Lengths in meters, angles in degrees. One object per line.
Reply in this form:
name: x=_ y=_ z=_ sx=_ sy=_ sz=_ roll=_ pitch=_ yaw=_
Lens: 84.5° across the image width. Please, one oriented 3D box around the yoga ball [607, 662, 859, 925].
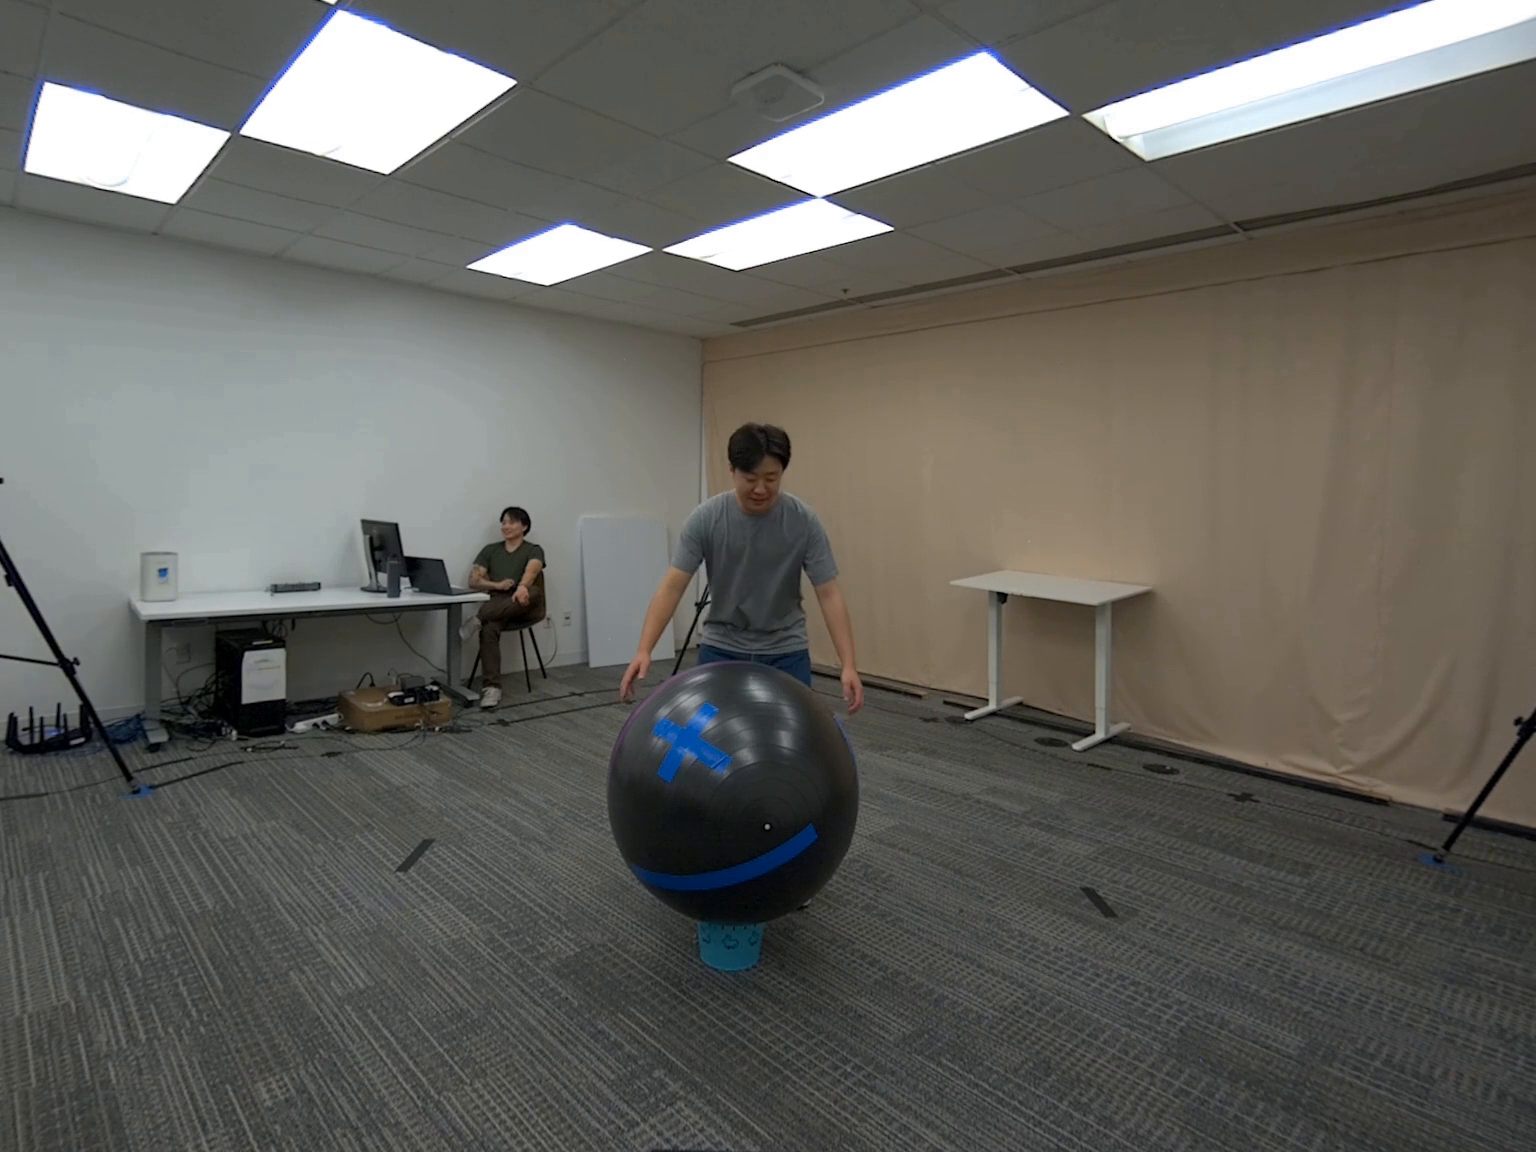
yoga ball: x=-0.111 y=0.648 z=2.533 sx=0.757 sy=0.756 sz=0.761 roll=1 pitch=4 yaw=-1
